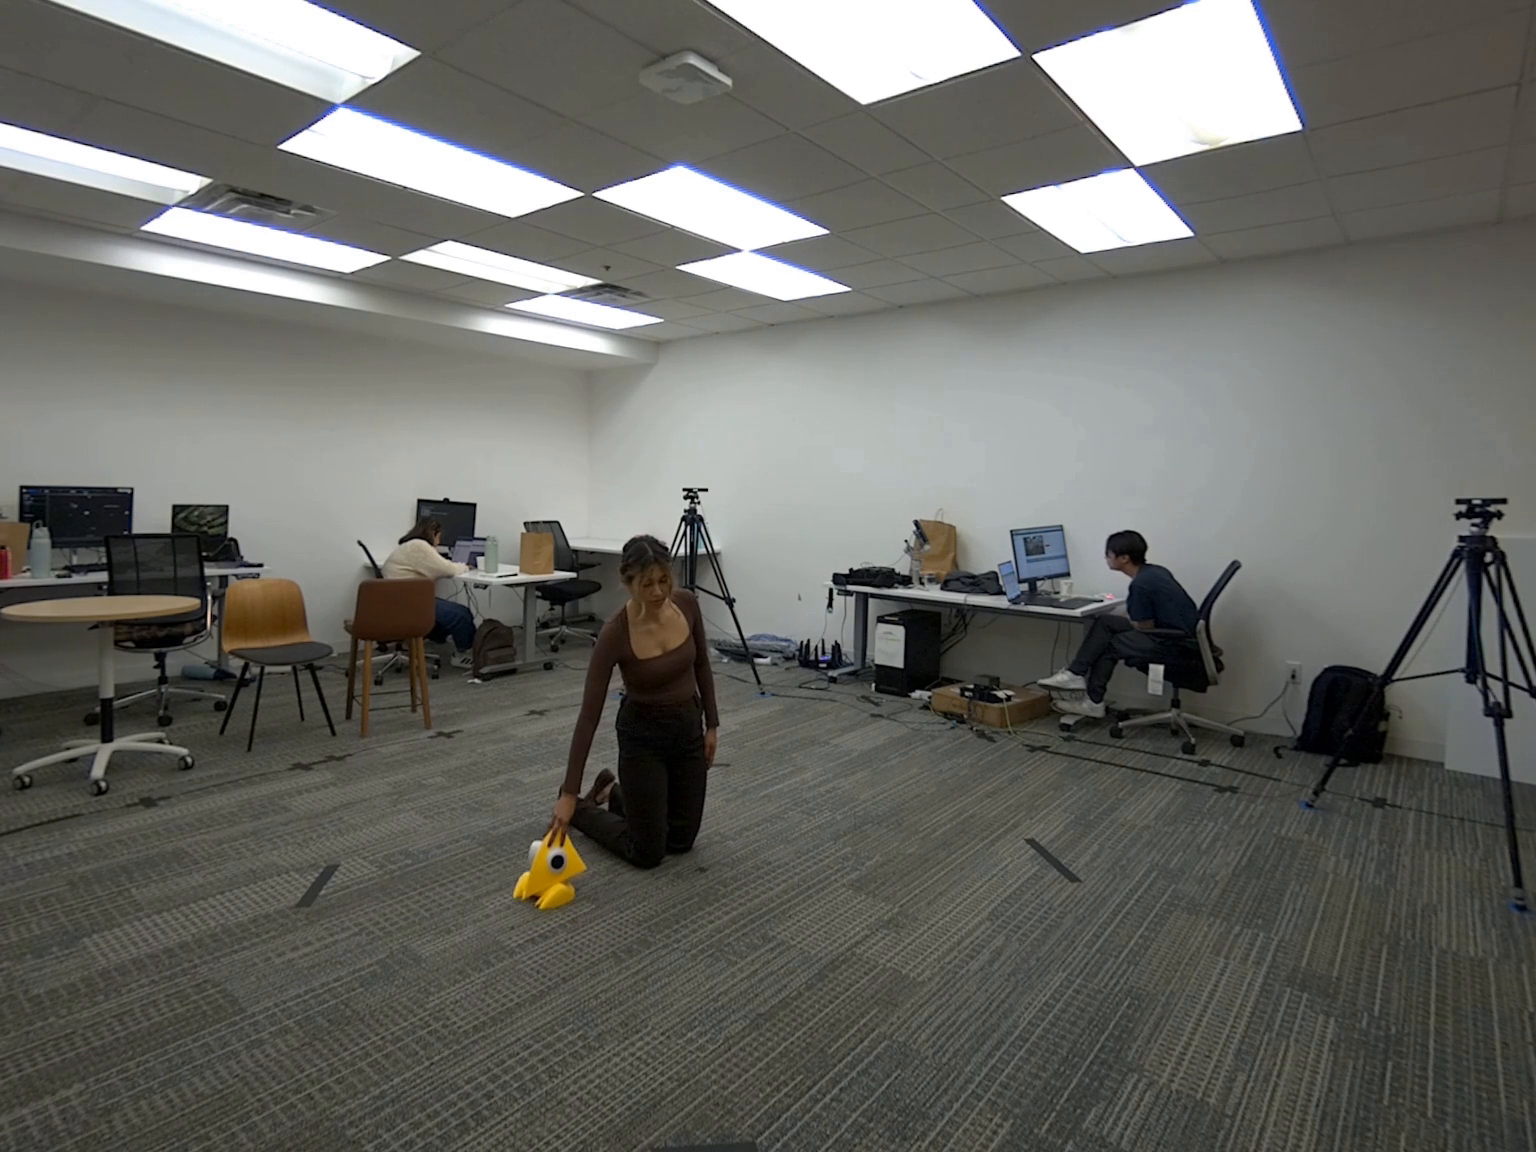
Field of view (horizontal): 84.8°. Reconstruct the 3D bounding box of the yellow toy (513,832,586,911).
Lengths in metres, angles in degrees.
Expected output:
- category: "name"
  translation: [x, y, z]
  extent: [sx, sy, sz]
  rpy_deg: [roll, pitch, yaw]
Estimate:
- category: "yellow toy"
  translation: [-0.764, 0.970, 2.895]
  extent: [0.211, 0.230, 0.188]
  rpy_deg: [5, 6, 34]
